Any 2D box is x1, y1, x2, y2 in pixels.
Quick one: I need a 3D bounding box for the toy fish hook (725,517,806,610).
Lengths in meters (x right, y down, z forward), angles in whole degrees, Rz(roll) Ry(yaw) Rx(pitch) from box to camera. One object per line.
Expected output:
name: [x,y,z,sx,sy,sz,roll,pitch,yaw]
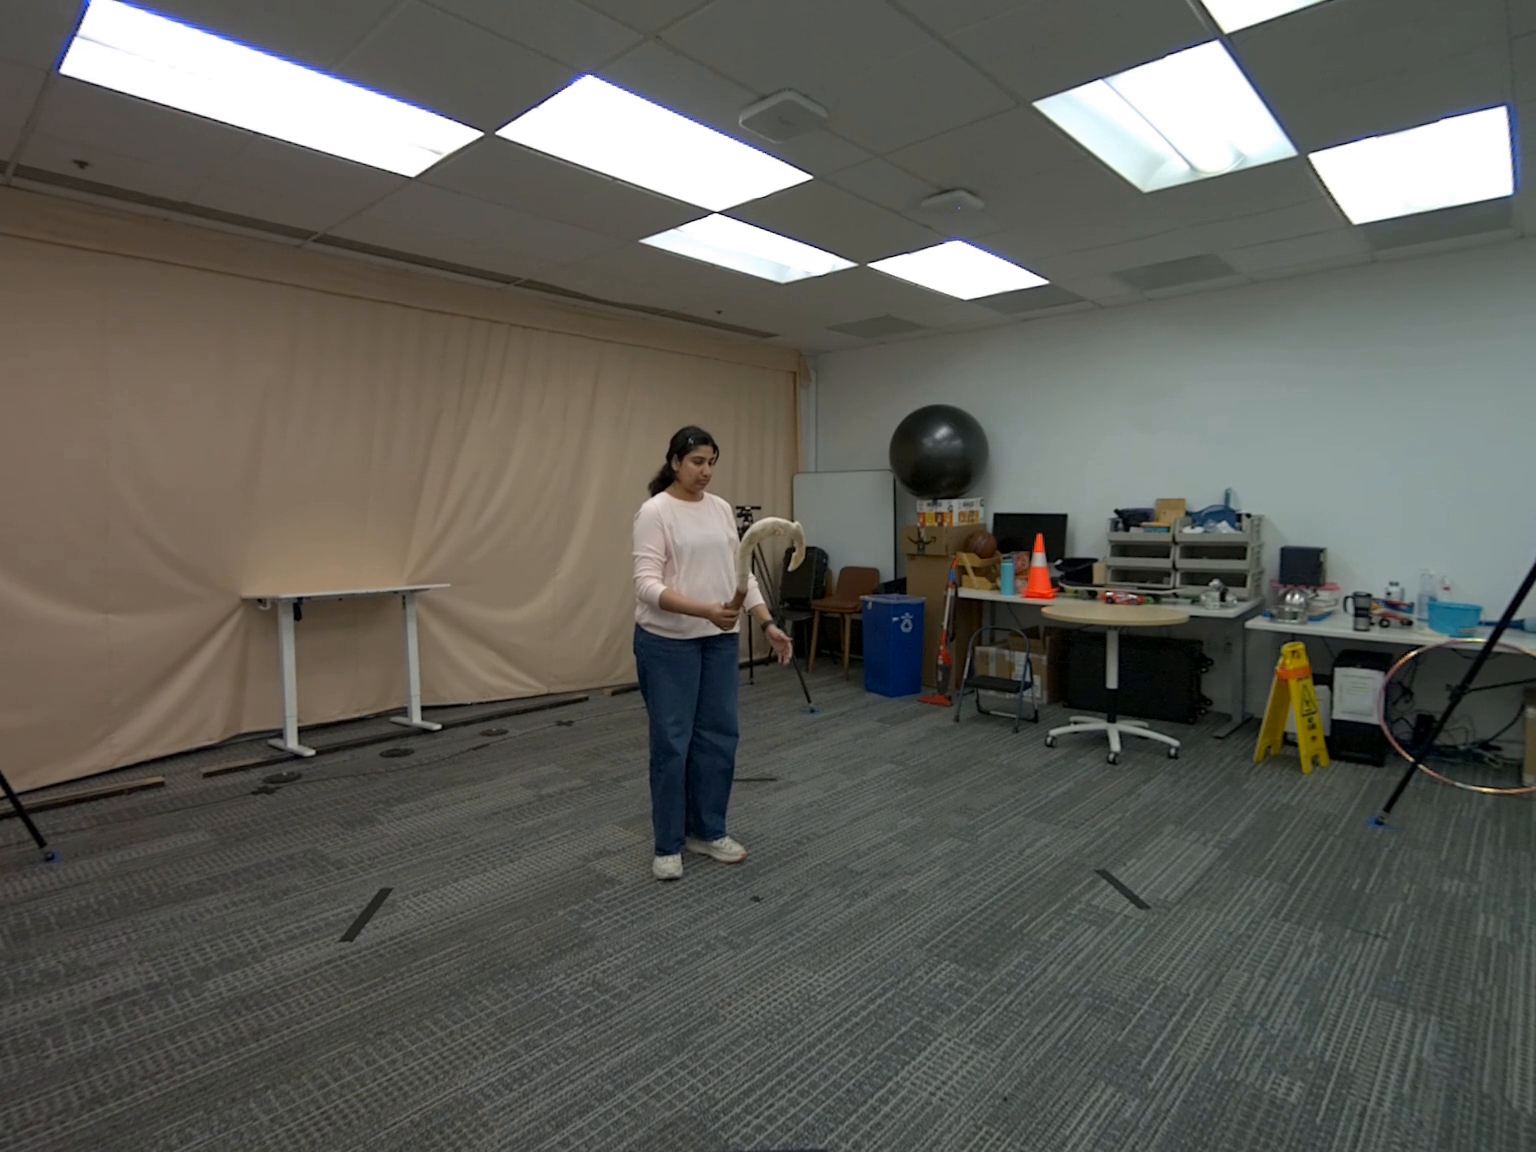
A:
toy fish hook: [-0.017,0.018,2.824,0.222,0.504,0.049,16,35,-10]
